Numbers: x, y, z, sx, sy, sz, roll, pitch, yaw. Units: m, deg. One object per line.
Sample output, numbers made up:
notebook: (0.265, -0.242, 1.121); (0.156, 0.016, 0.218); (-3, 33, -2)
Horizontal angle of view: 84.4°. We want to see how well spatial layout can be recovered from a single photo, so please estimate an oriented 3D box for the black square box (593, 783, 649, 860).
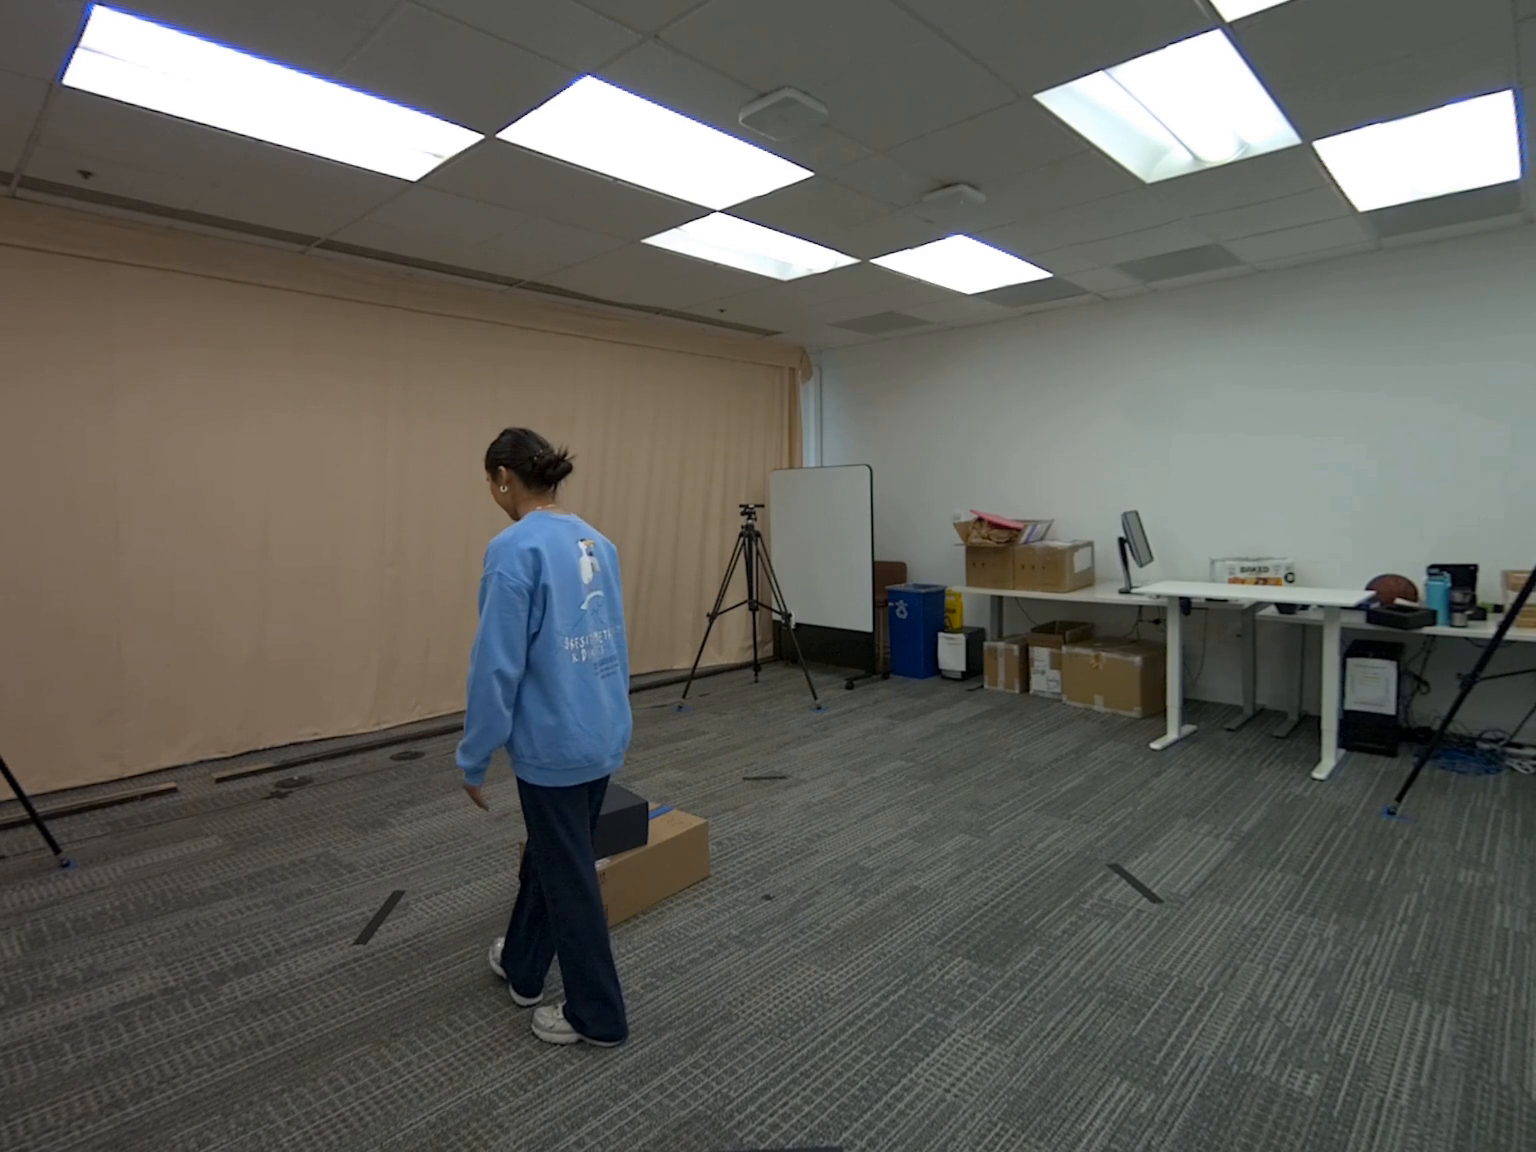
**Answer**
black square box: (-0.567, 0.852, 2.944); (0.221, 0.155, 0.224); (-5, 9, -42)
